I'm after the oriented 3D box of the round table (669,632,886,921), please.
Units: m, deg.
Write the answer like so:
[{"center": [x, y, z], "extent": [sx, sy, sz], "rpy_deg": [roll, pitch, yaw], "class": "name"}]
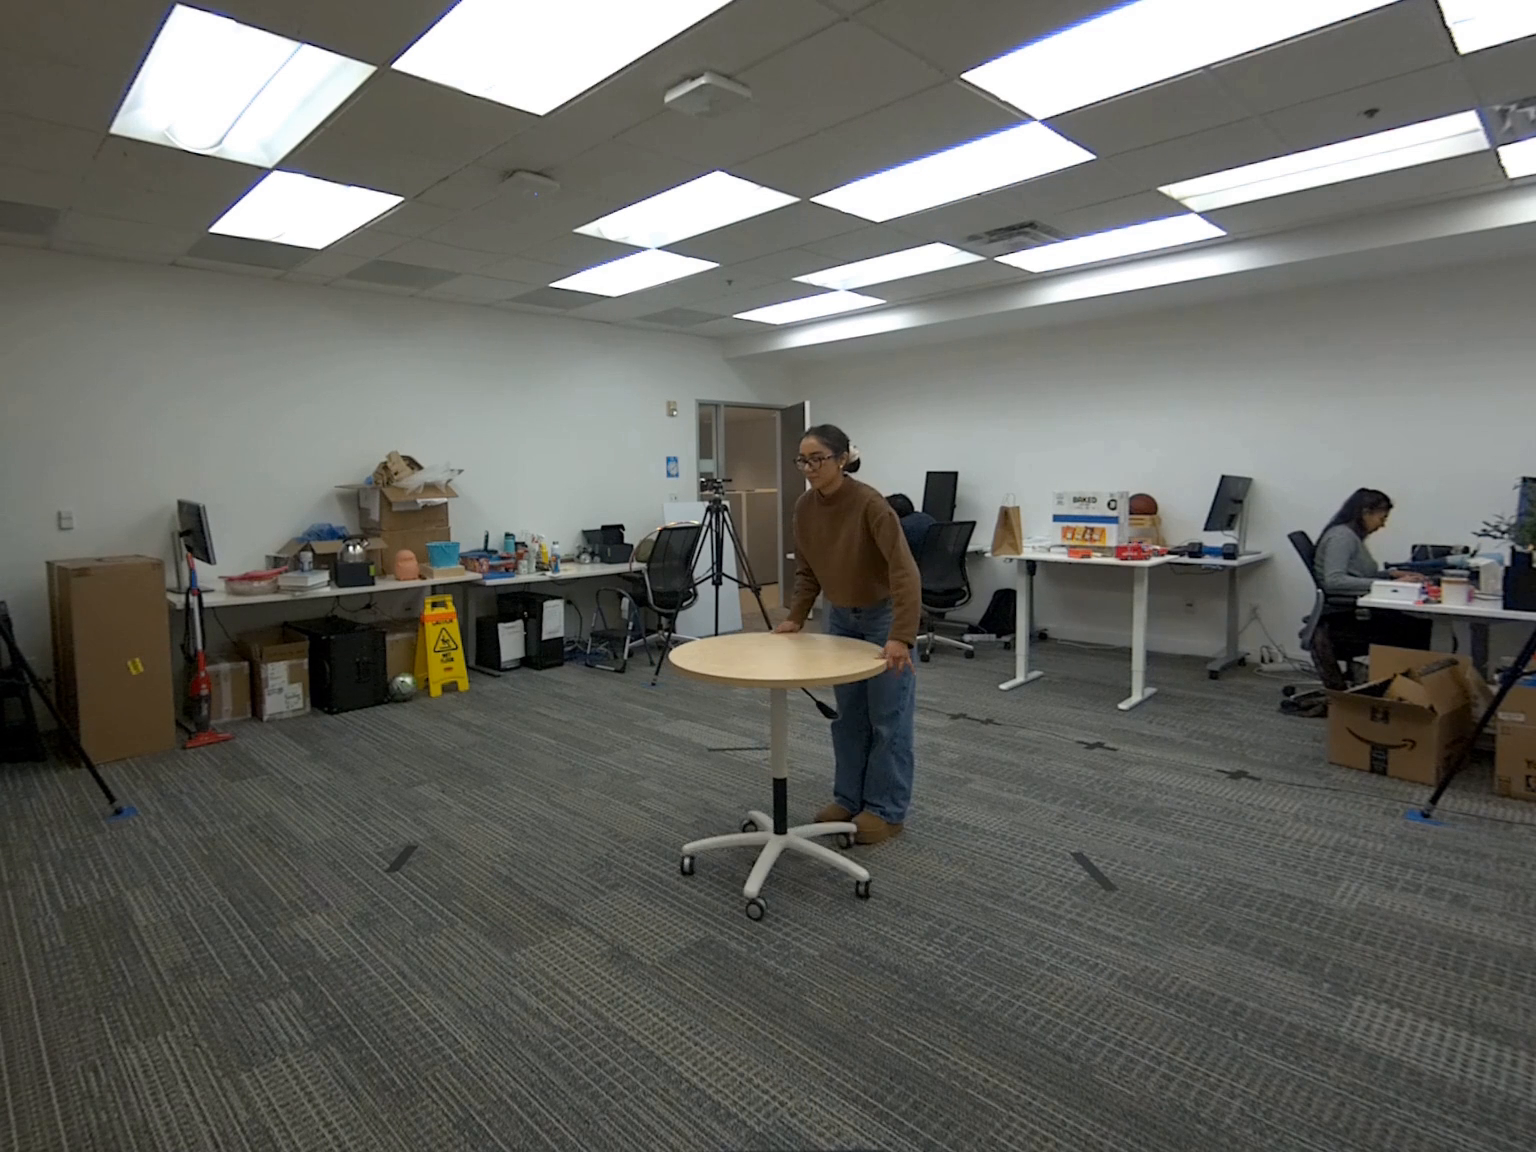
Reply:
[{"center": [0.036, 0.663, 3.014], "extent": [0.763, 0.790, 0.768], "rpy_deg": [-1, 5, -2], "class": "round table"}]
